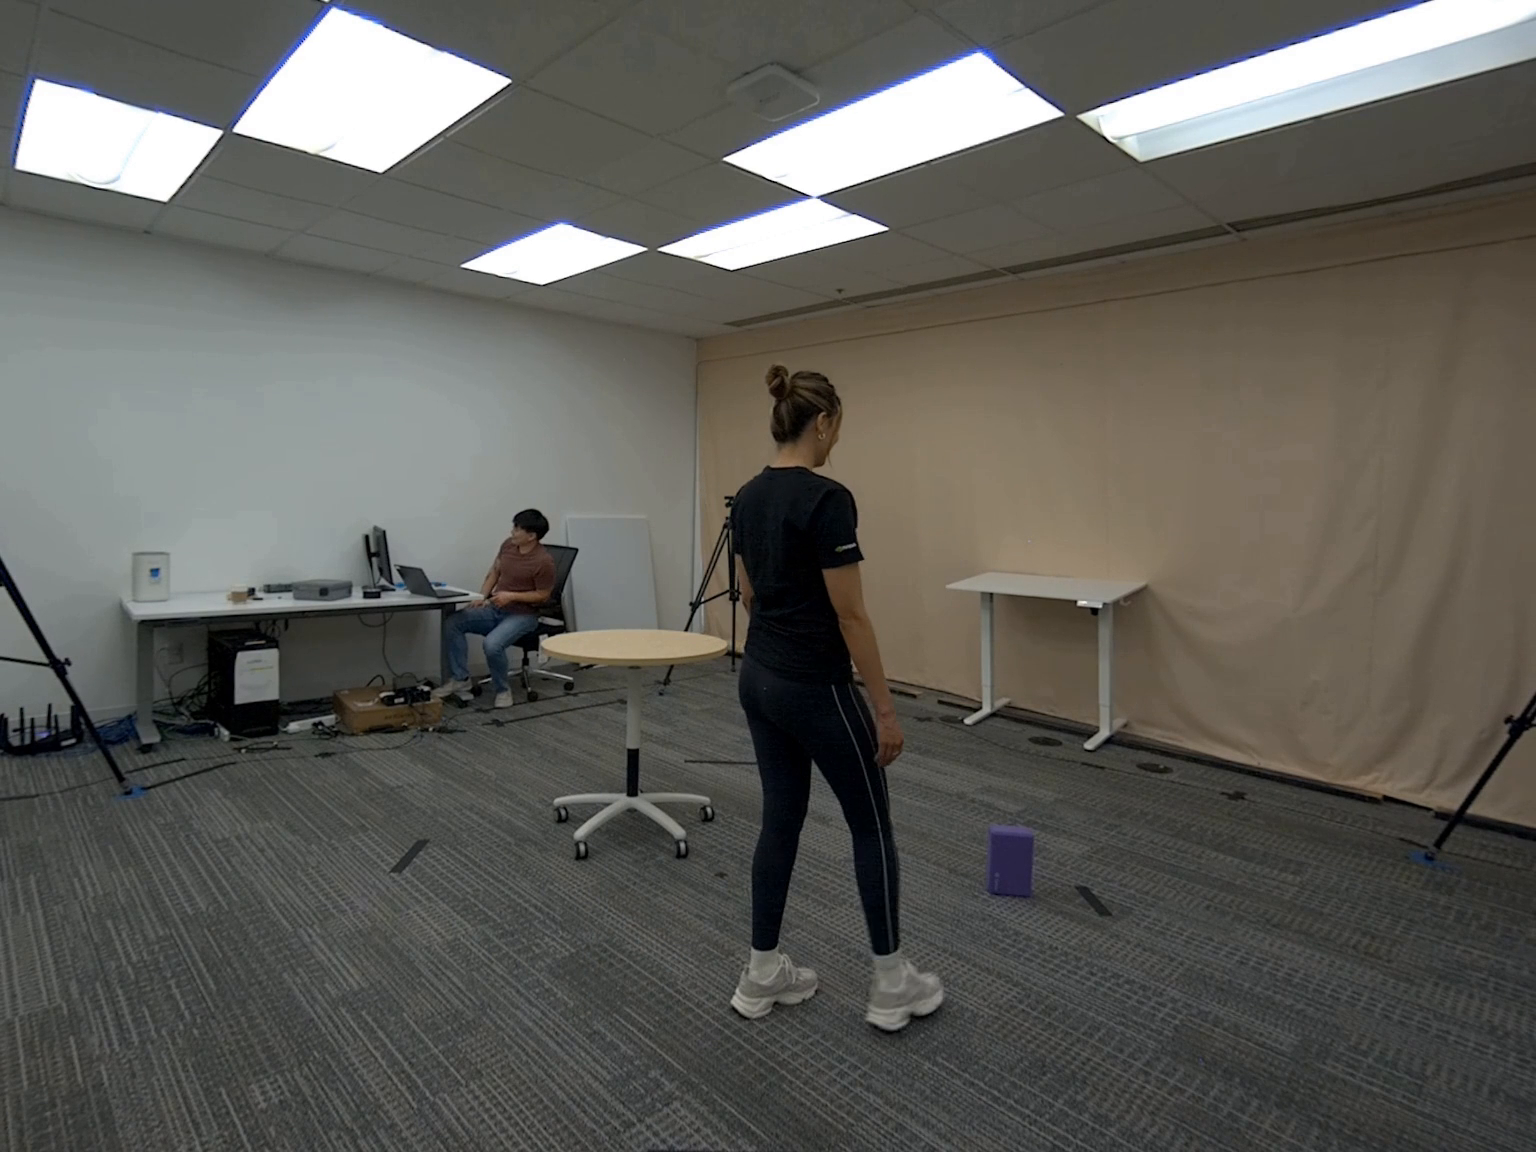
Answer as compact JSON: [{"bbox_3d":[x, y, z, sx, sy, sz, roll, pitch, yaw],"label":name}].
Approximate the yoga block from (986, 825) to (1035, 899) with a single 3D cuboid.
[{"bbox_3d":[0.868,1.026,3.025,0.150,0.229,0.076,6,3,6],"label":"yoga block"}]
